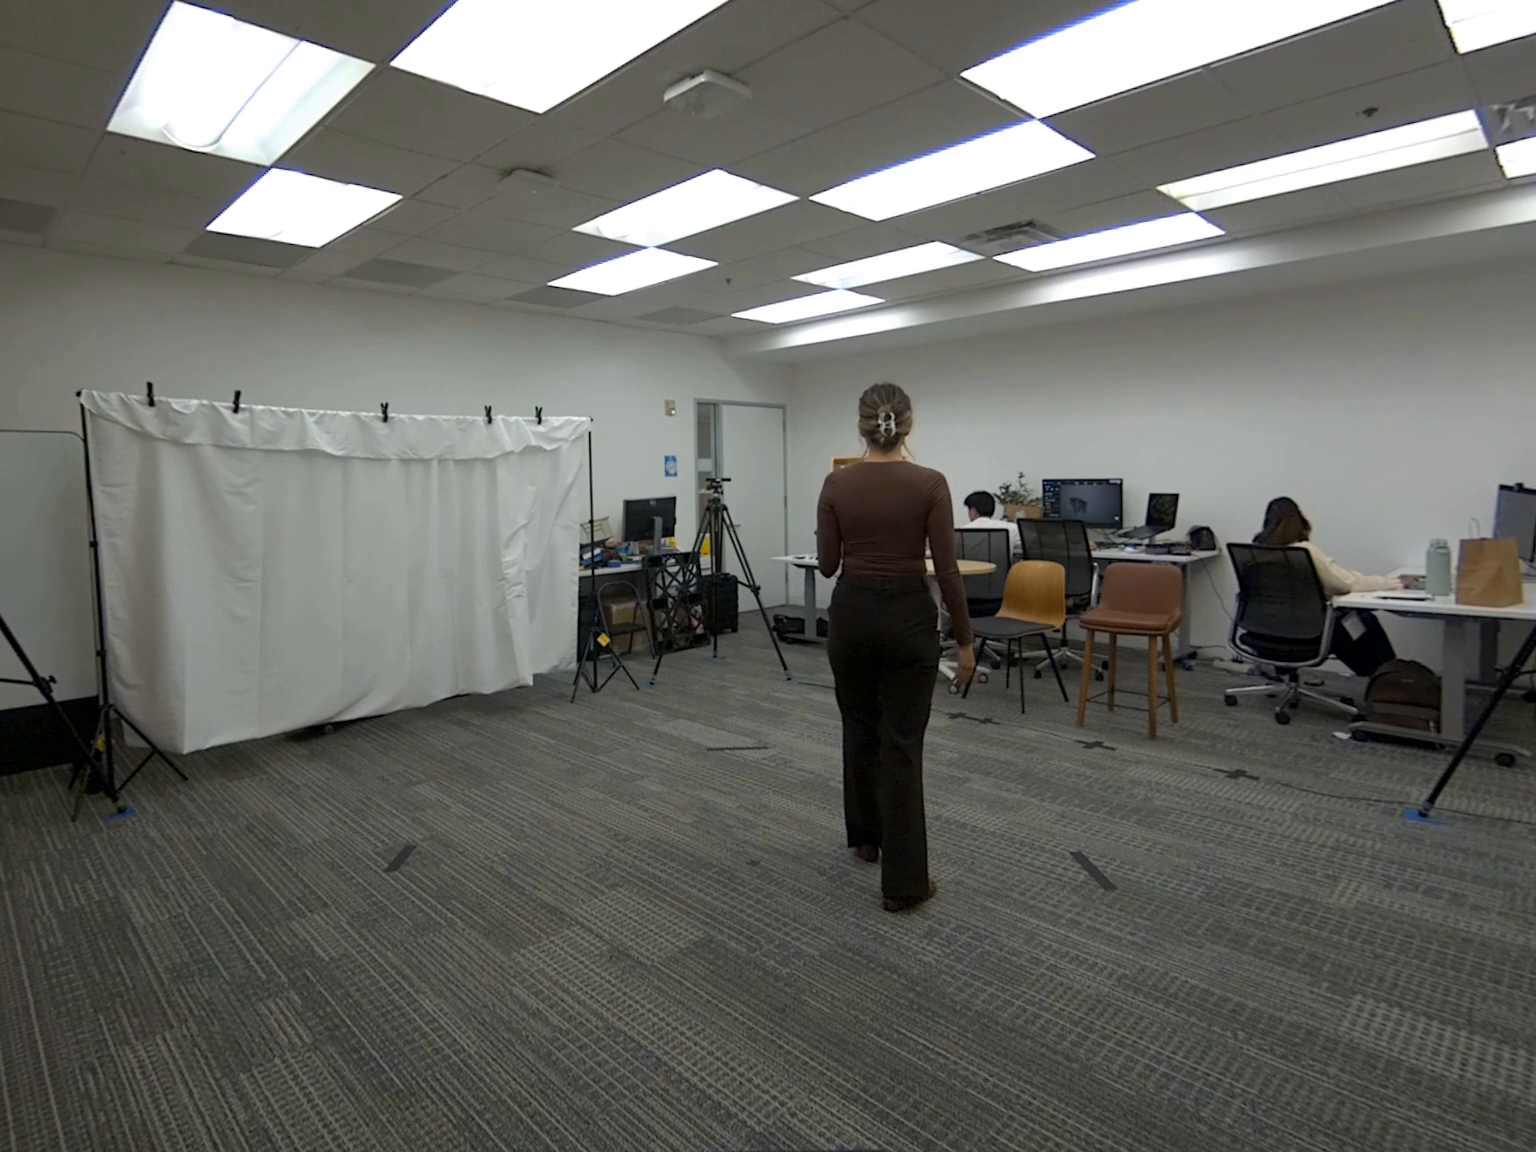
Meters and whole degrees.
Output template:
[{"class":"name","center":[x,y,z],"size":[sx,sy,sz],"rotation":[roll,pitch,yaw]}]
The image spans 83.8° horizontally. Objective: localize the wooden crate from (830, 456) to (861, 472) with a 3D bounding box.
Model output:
[{"class":"wooden crate","center":[0.406,-0.335,3.340],"size":[0.328,0.302,0.270],"rotation":[0,0,11]}]
